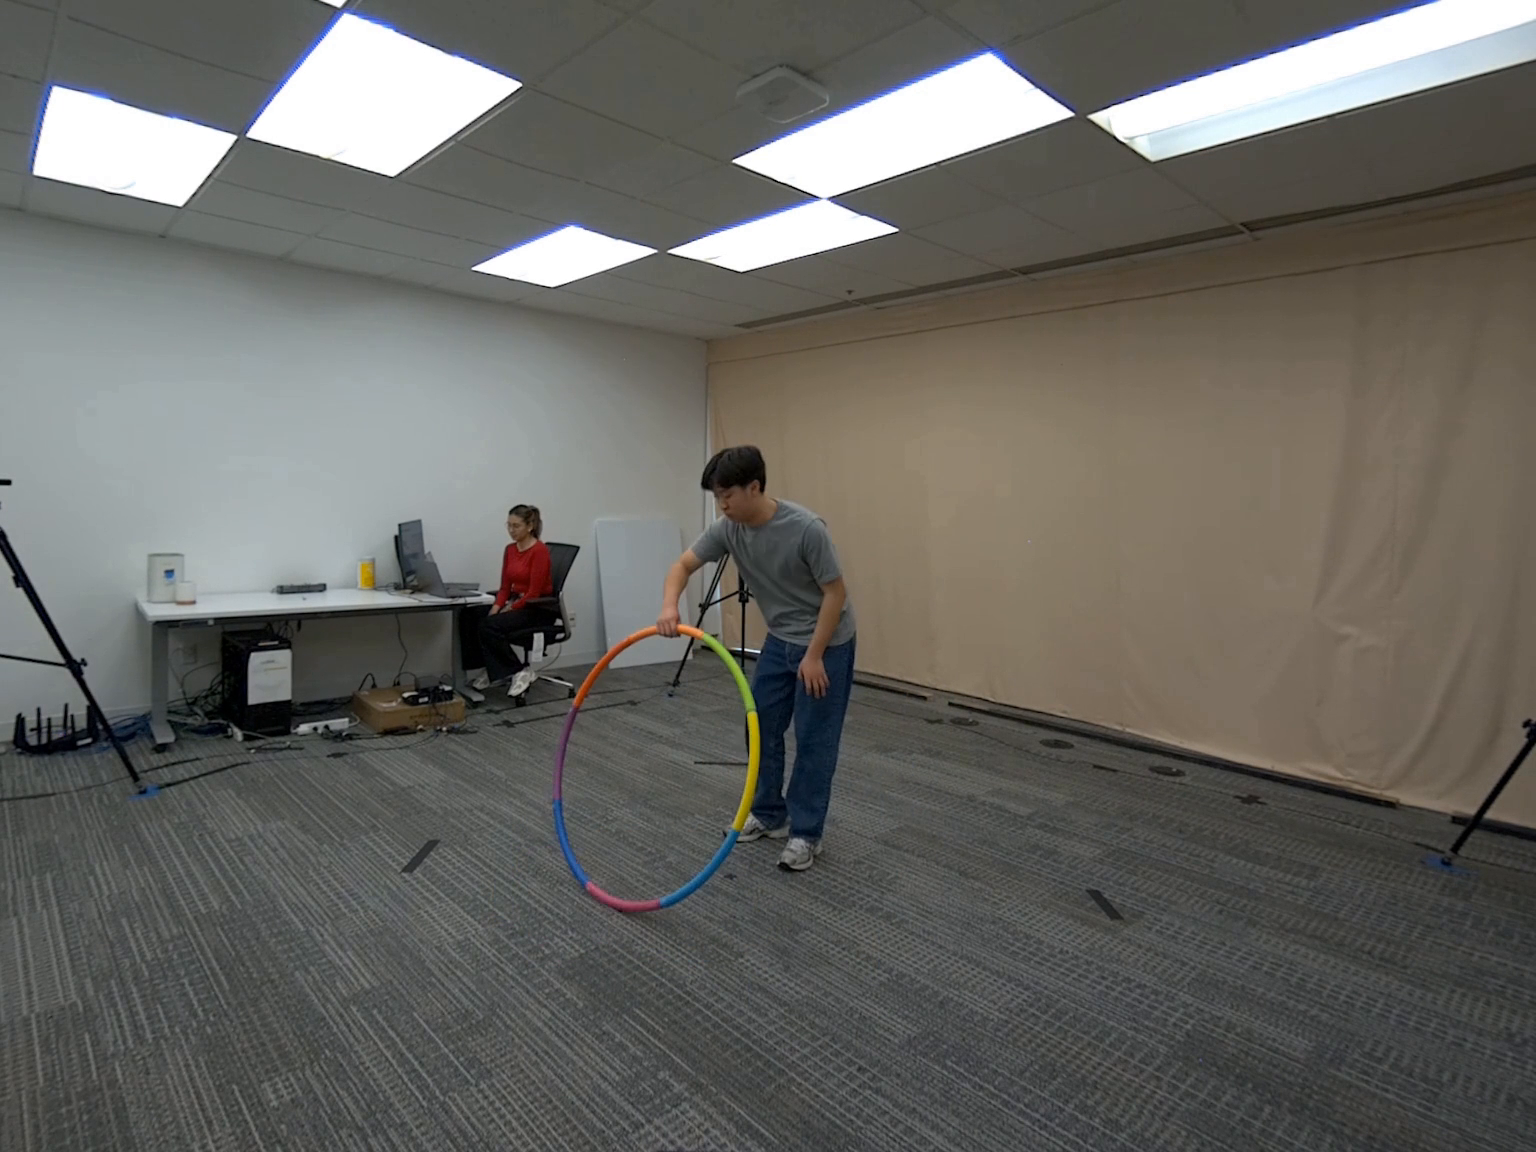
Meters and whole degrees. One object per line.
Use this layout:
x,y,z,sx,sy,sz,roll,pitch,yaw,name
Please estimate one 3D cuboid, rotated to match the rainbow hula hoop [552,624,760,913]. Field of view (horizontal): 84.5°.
-0.446,0.672,2.964,1.003,0.985,0.034,5,-17,41,rainbow hula hoop
